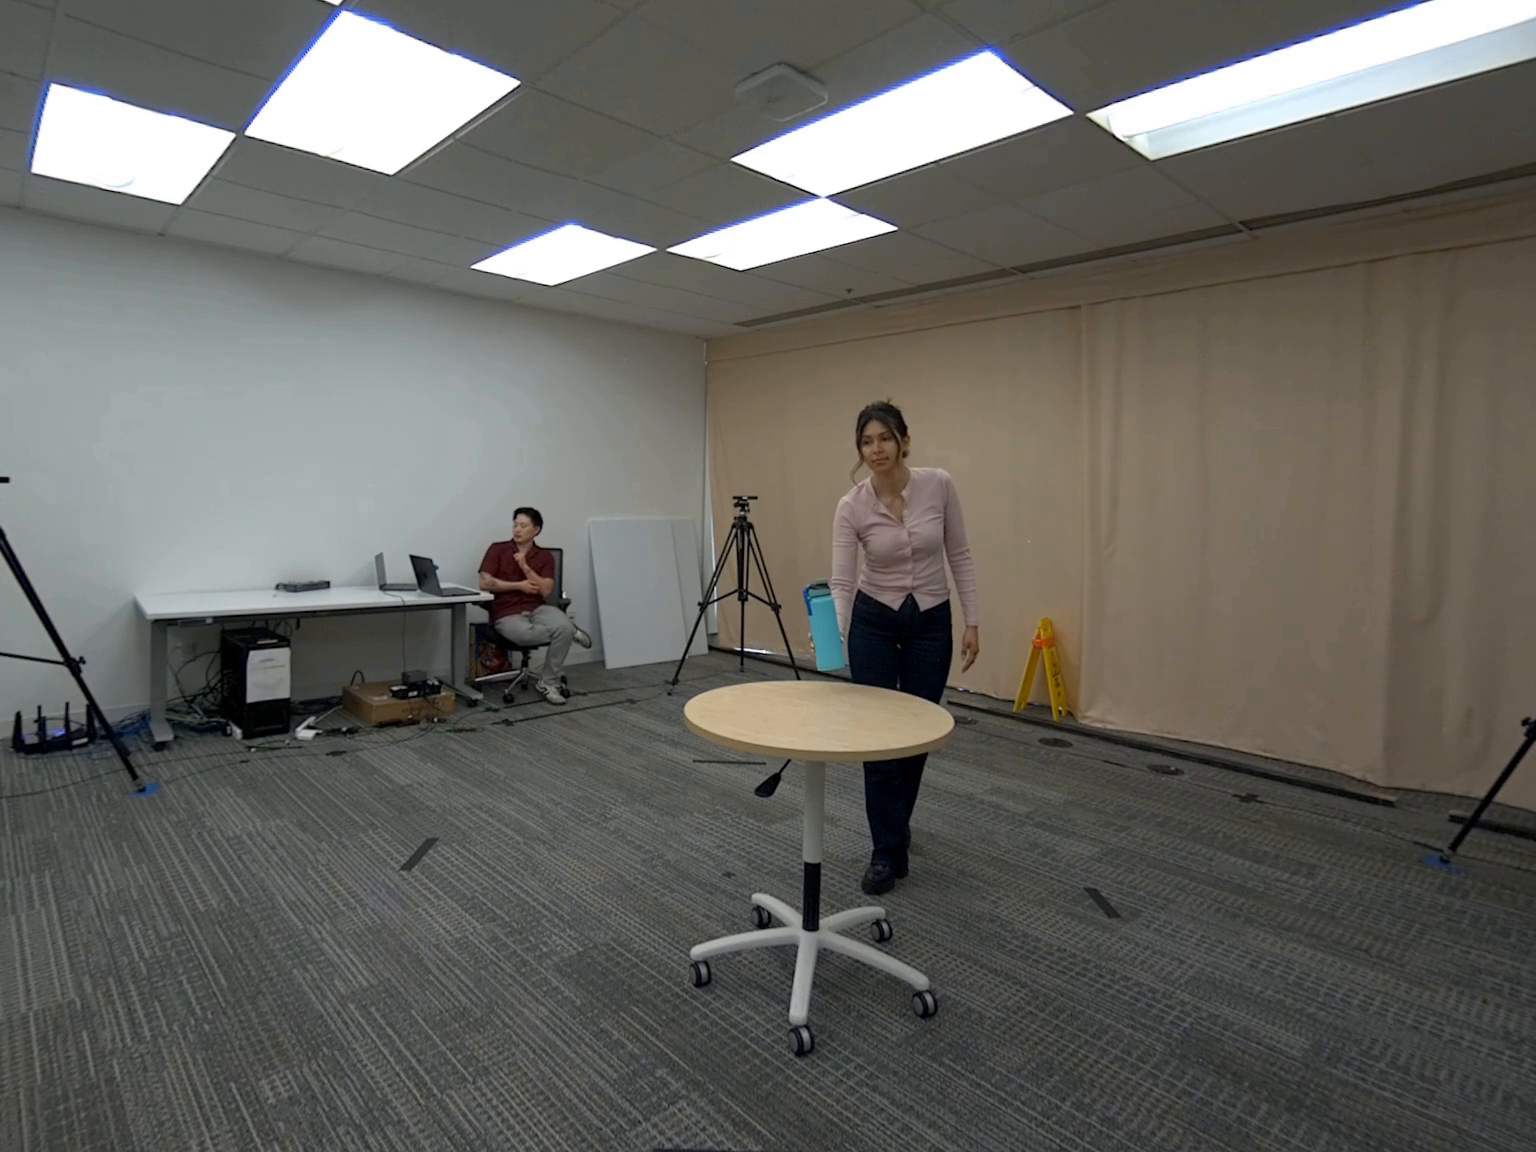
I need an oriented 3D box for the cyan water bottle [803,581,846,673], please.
[{"bbox_3d":[0.170,0.154,2.653,0.092,0.283,0.092,-10,-1,-1],"label":"cyan water bottle"}]
